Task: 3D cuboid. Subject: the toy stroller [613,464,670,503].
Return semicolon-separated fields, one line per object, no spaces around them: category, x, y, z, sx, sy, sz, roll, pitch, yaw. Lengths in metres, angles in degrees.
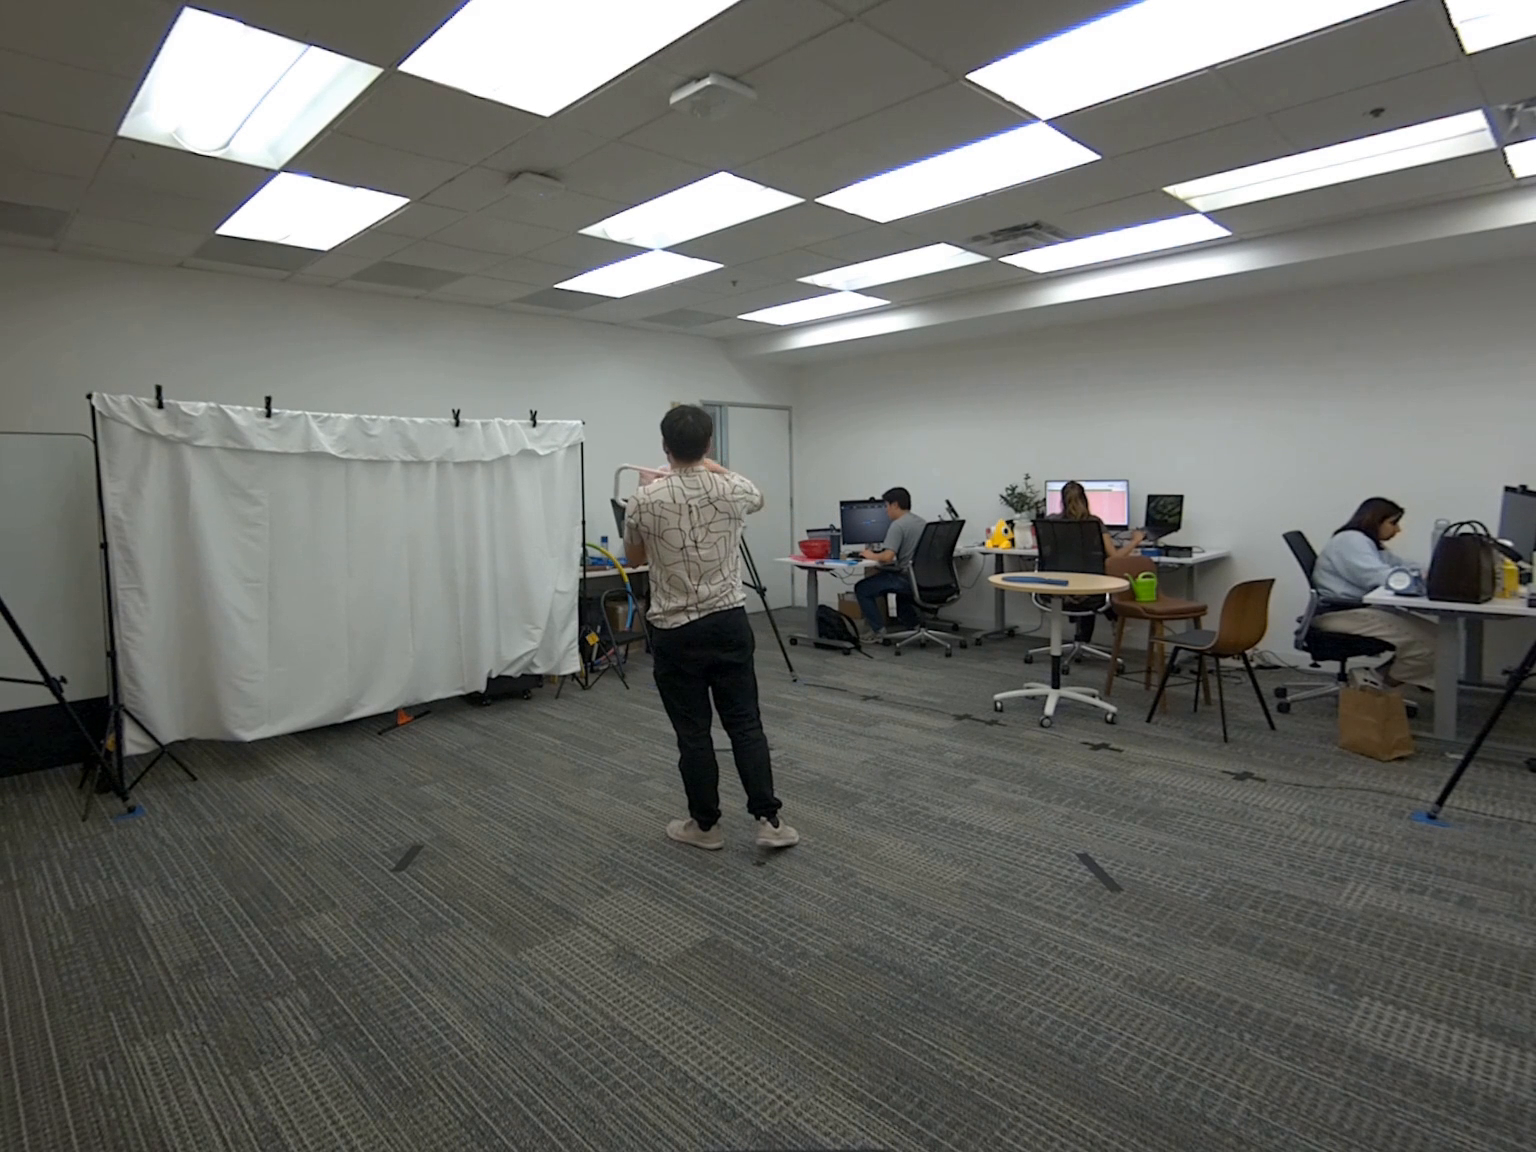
toy stroller;-0.421;-0.339;3.772;0.335;0.276;0.555;-10;27;-27
